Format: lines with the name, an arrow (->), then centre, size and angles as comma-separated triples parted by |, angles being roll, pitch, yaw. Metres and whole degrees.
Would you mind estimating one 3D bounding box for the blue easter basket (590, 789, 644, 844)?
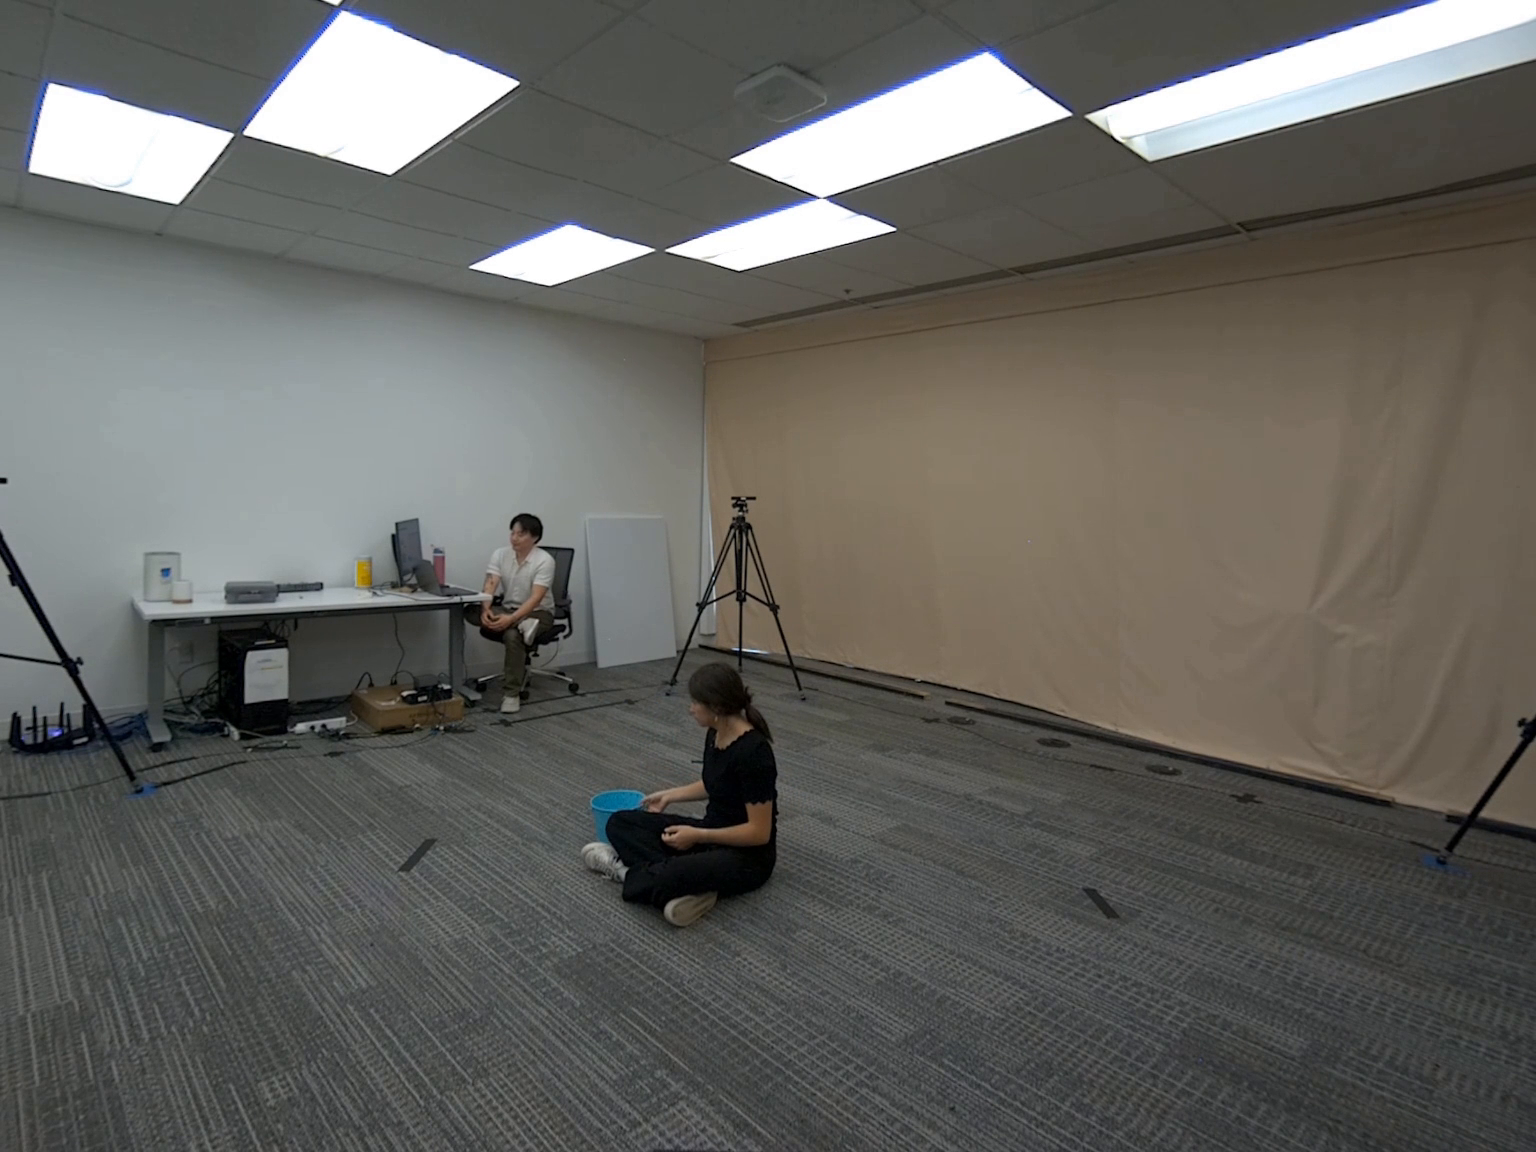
blue easter basket -> -0.609, 0.981, 3.430 | 0.243, 0.155, 0.244 | 1, 5, -1
